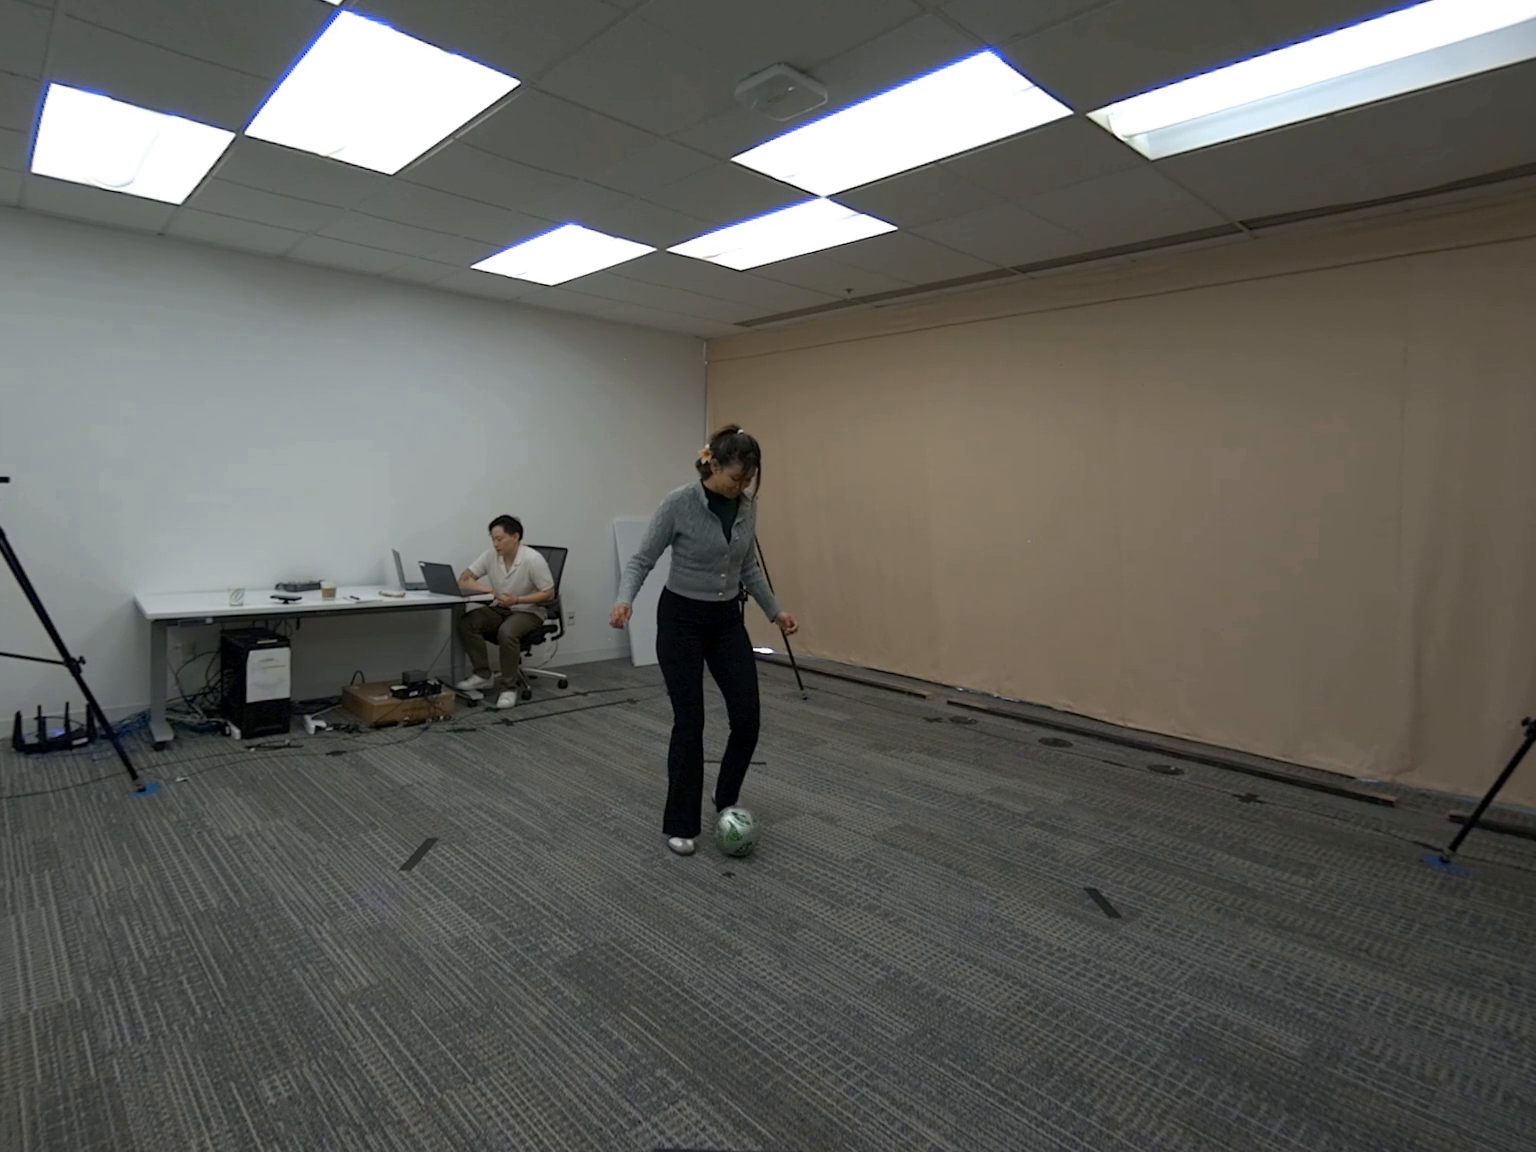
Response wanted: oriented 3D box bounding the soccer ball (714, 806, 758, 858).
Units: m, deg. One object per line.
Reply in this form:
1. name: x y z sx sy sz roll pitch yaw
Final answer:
1. soccer ball: -0.140 0.996 3.277 0.187 0.187 0.188 1 4 -1
